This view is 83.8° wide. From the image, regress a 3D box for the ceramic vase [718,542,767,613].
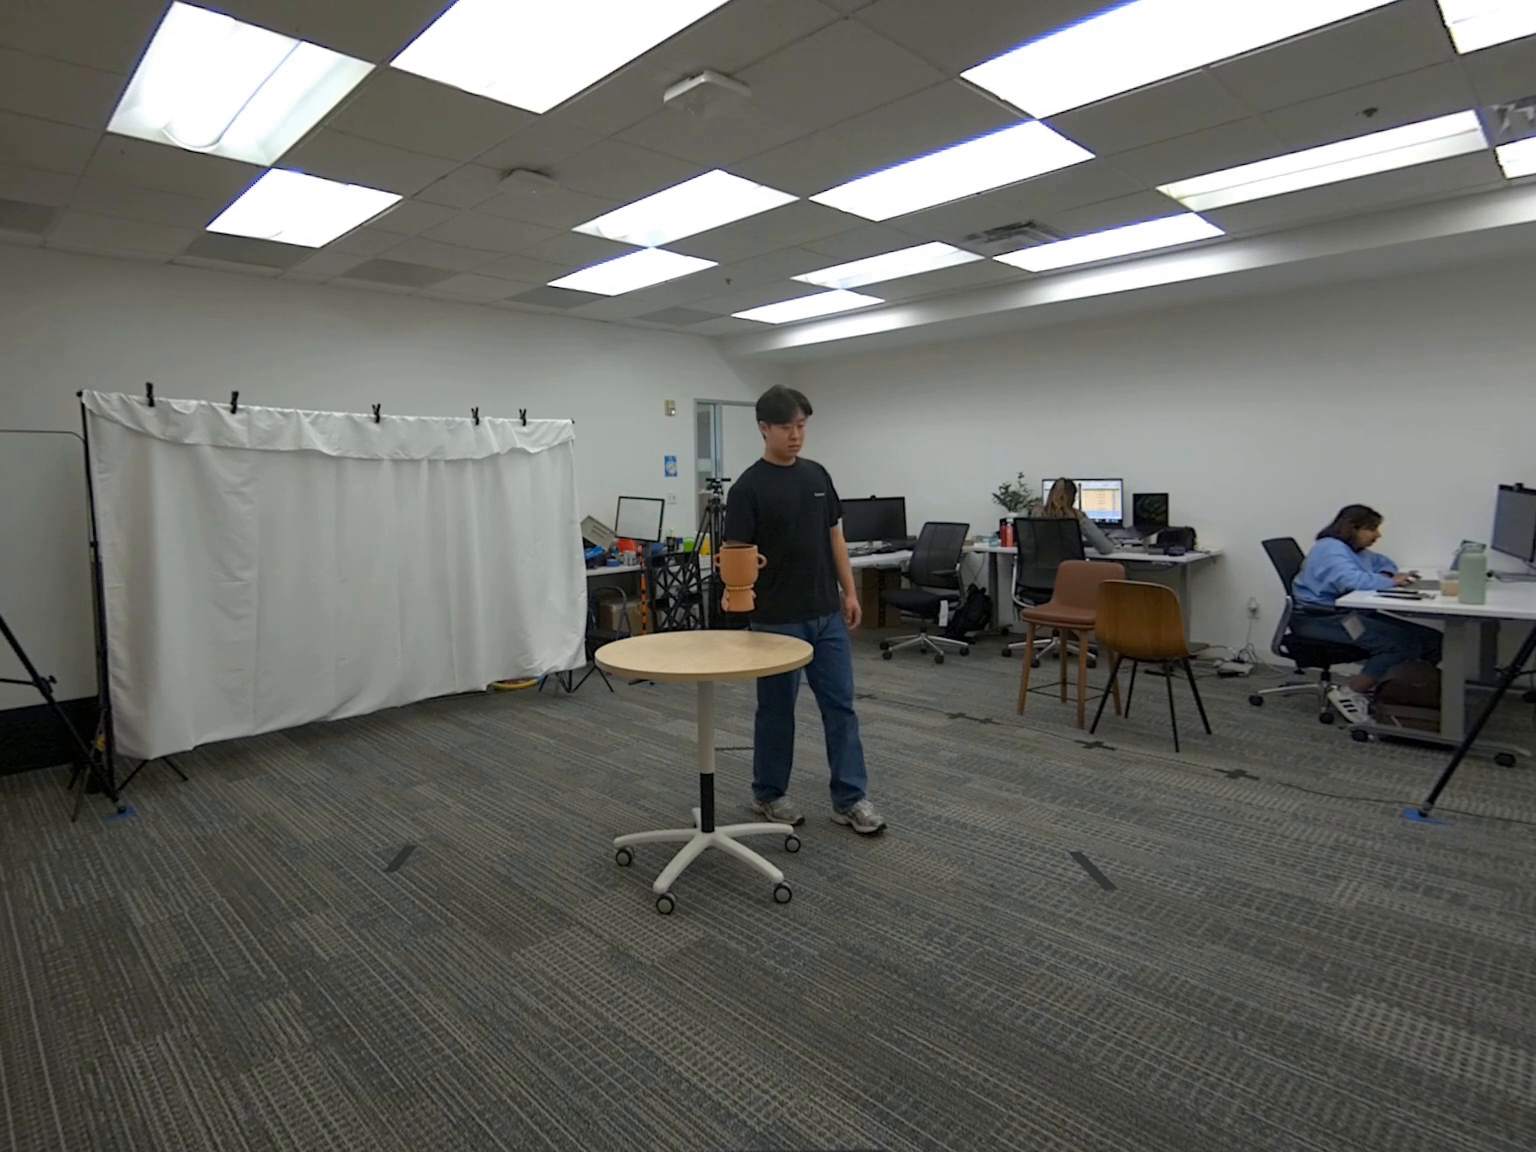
[{"bbox_3d":[-0.098,0.009,3.022,0.131,0.218,0.163,-7,9,-32],"label":"ceramic vase"}]
